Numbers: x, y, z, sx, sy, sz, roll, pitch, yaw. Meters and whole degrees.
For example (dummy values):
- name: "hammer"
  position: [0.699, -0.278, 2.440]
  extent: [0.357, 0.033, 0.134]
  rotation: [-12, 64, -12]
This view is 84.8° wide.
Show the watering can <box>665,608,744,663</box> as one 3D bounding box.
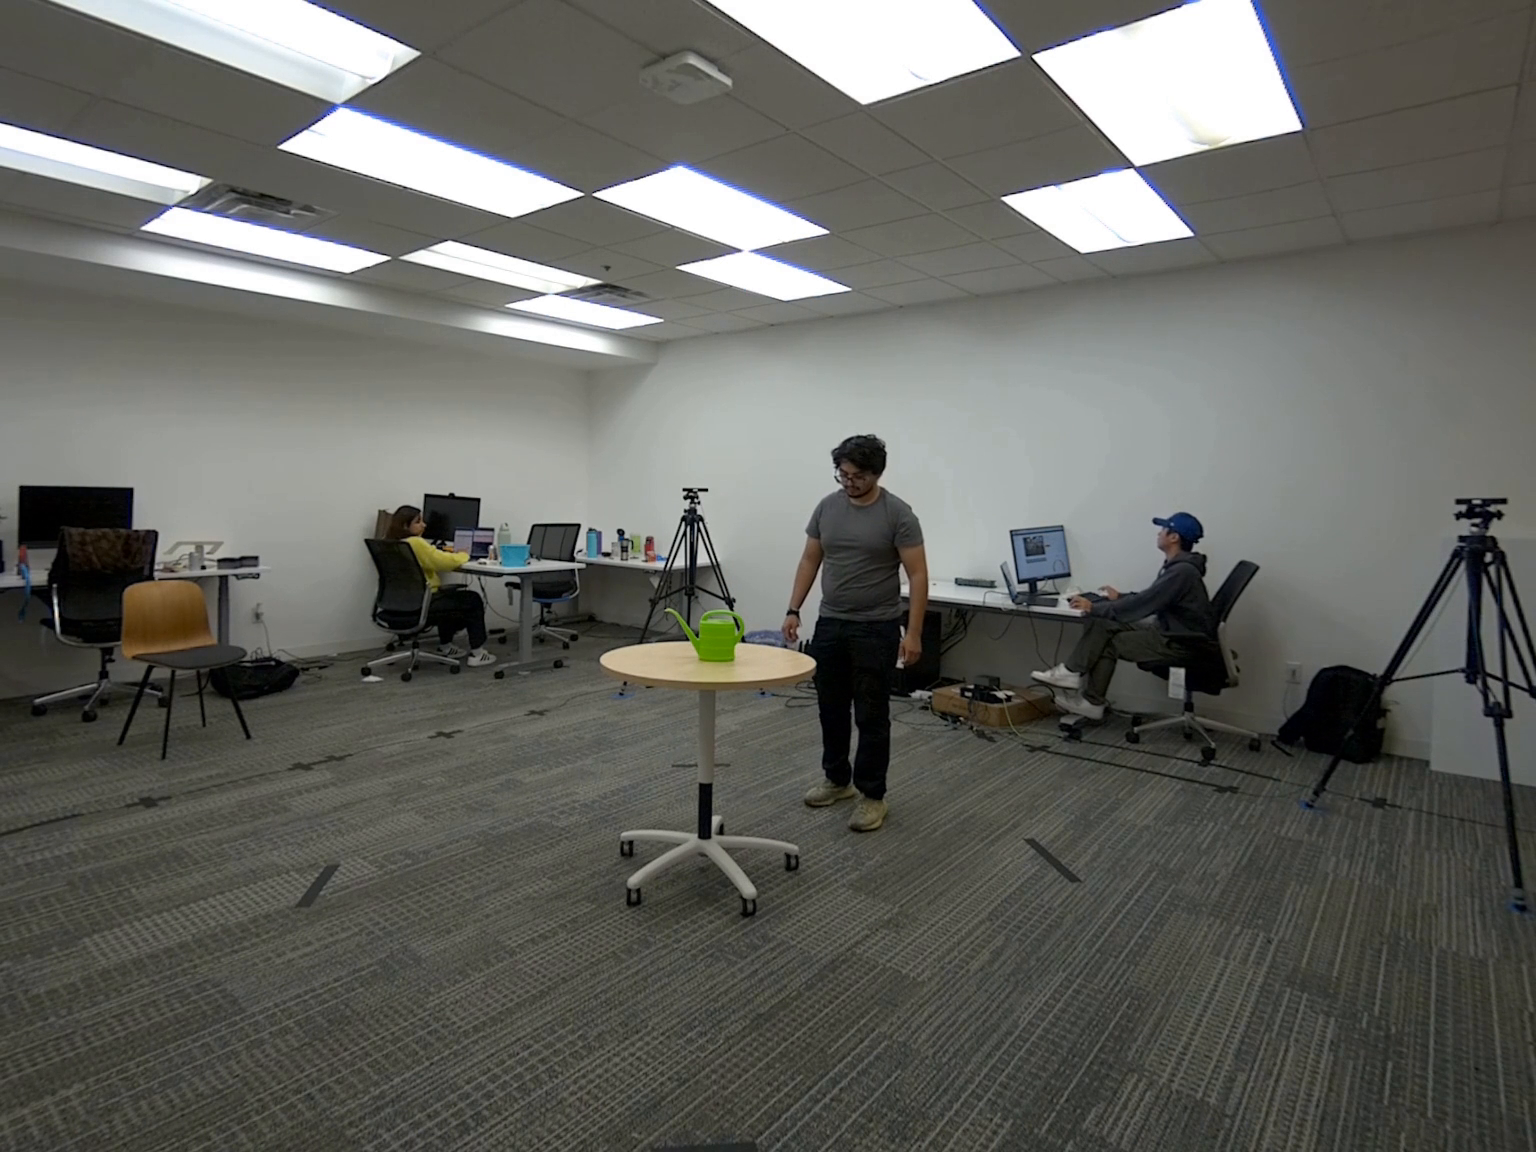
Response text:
- name: "watering can"
  position: [-0.241, 0.210, 3.041]
  extent: [0.283, 0.176, 0.096]
  rotation: [2, 3, 16]
